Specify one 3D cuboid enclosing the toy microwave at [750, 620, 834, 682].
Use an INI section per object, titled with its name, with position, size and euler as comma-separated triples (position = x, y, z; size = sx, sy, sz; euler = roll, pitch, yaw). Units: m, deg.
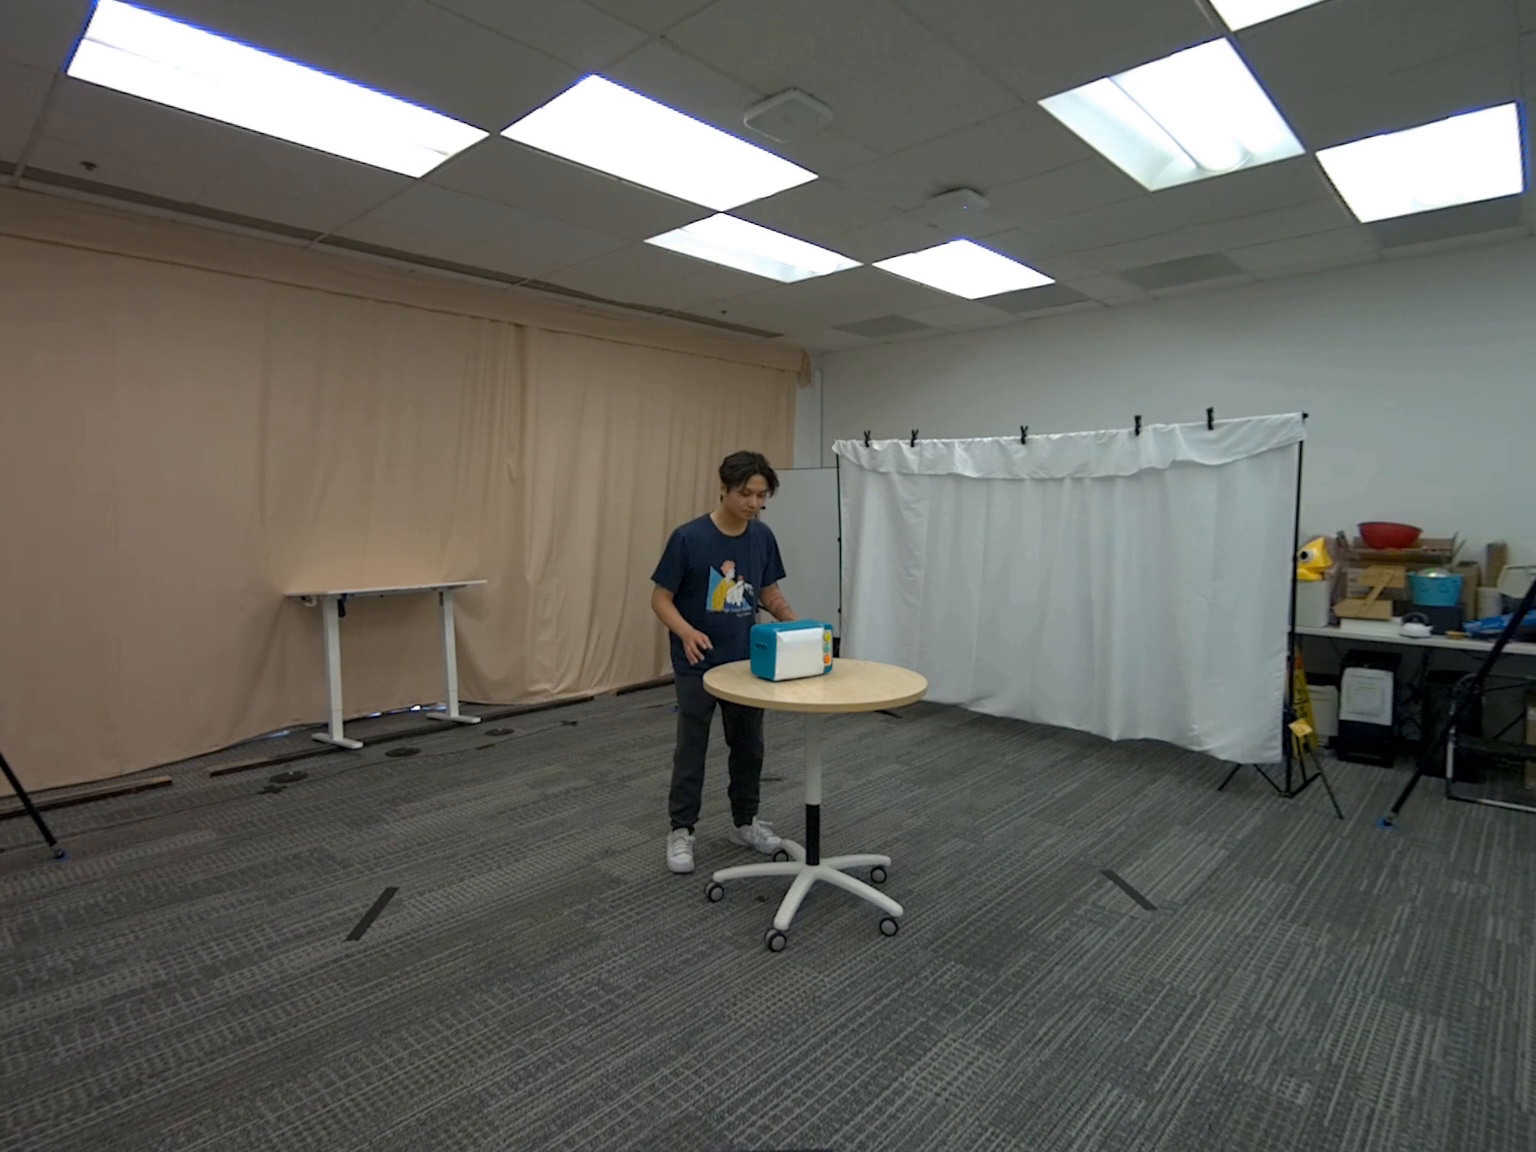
[toy microwave]
position = 0.087, 0.256, 2.927
size = 0.278, 0.184, 0.157
euler = -3, 5, -36
